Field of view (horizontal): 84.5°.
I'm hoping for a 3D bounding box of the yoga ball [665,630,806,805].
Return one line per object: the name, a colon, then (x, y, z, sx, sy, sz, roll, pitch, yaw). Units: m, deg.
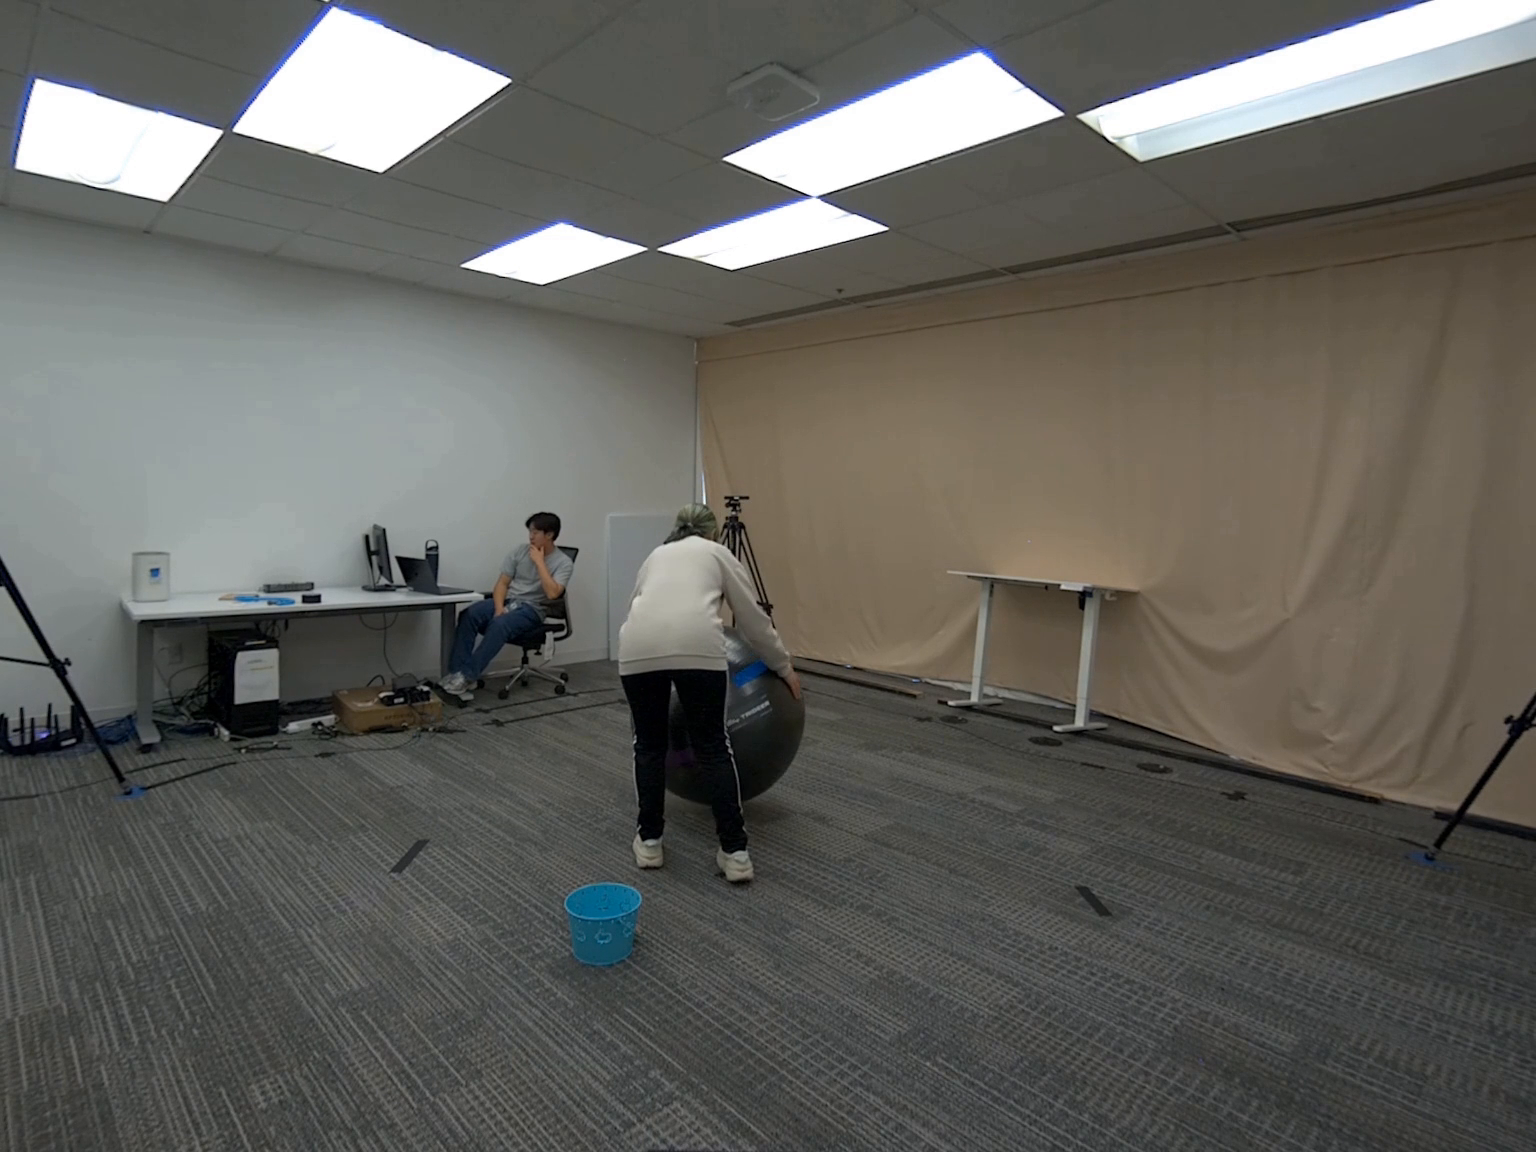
yoga ball: (-0.226, 0.595, 3.636, 0.757, 0.756, 0.761, 1, 4, -1)
